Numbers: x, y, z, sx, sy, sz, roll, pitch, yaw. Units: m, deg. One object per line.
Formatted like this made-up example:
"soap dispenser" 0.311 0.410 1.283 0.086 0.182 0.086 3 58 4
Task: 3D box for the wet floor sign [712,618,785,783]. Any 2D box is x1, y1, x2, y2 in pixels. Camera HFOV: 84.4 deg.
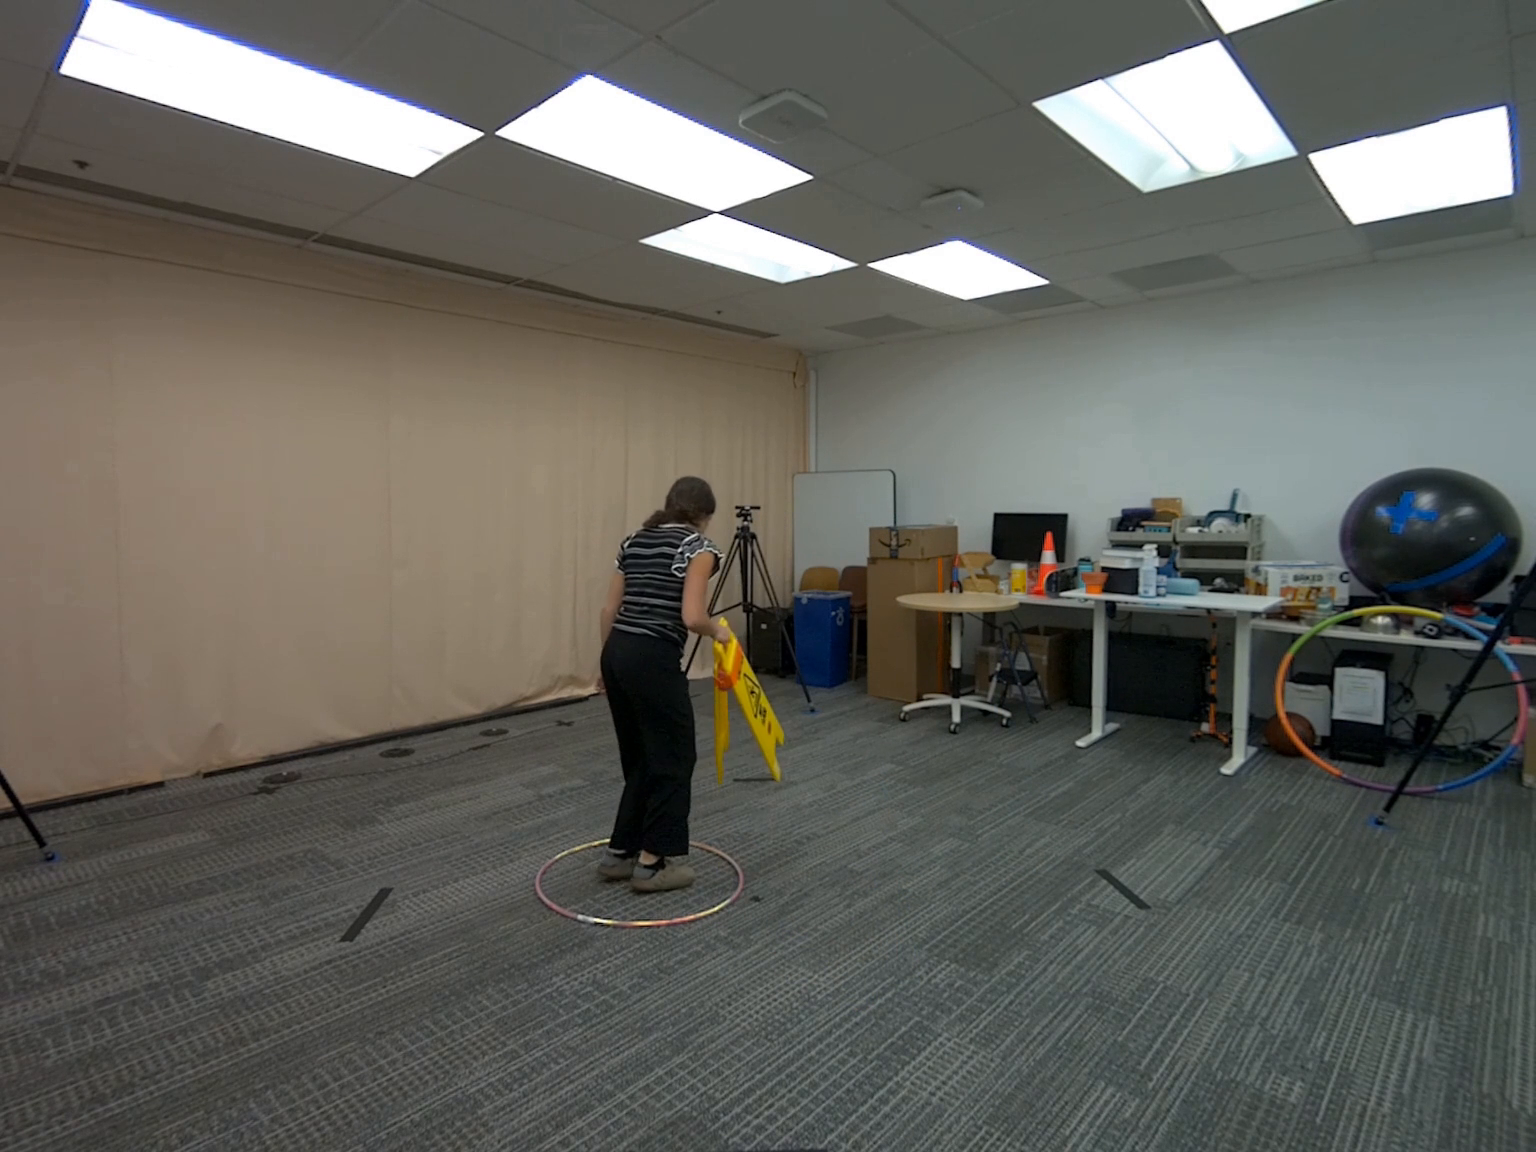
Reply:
"wet floor sign" -0.135 0.494 3.322 0.293 0.634 0.284 -7 25 10
